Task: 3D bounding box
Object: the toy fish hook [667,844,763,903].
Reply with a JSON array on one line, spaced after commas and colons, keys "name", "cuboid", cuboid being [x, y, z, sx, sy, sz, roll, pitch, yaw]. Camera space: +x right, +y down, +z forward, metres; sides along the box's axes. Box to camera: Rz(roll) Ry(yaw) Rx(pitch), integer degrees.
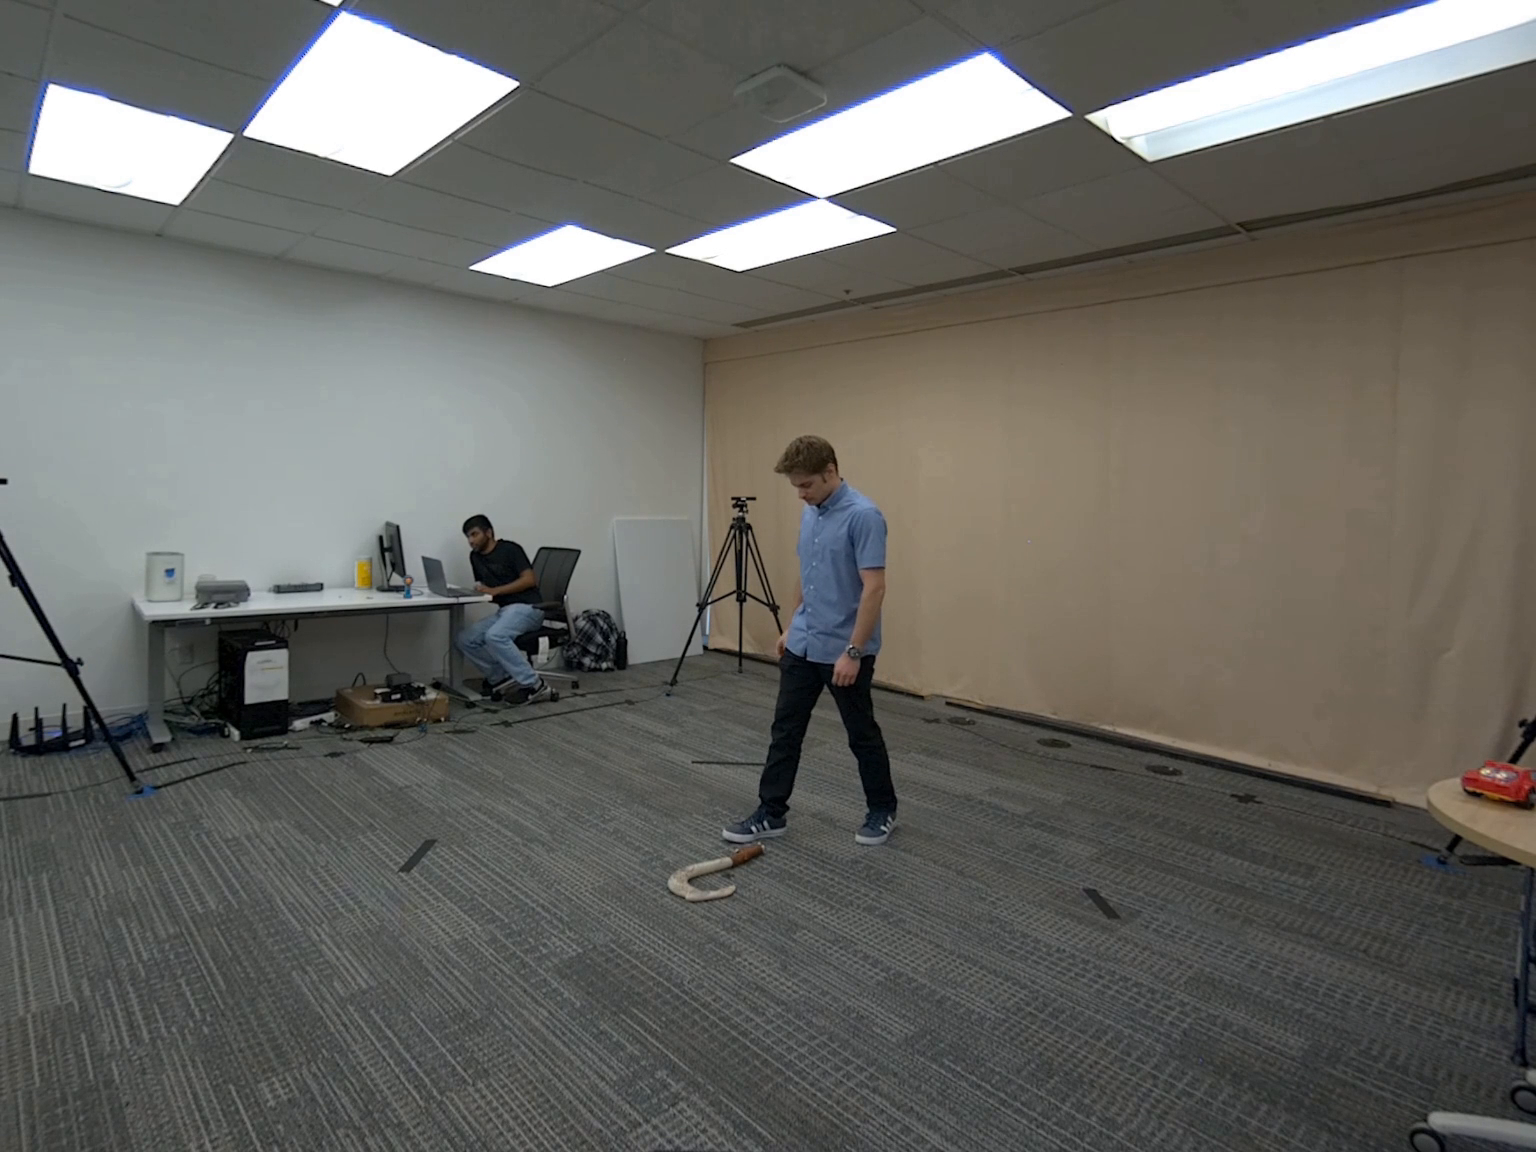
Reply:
[{"name": "toy fish hook", "cuboid": [-0.150, 1.090, 3.103, 0.231, 0.048, 0.495, 17, 15, 40]}]
